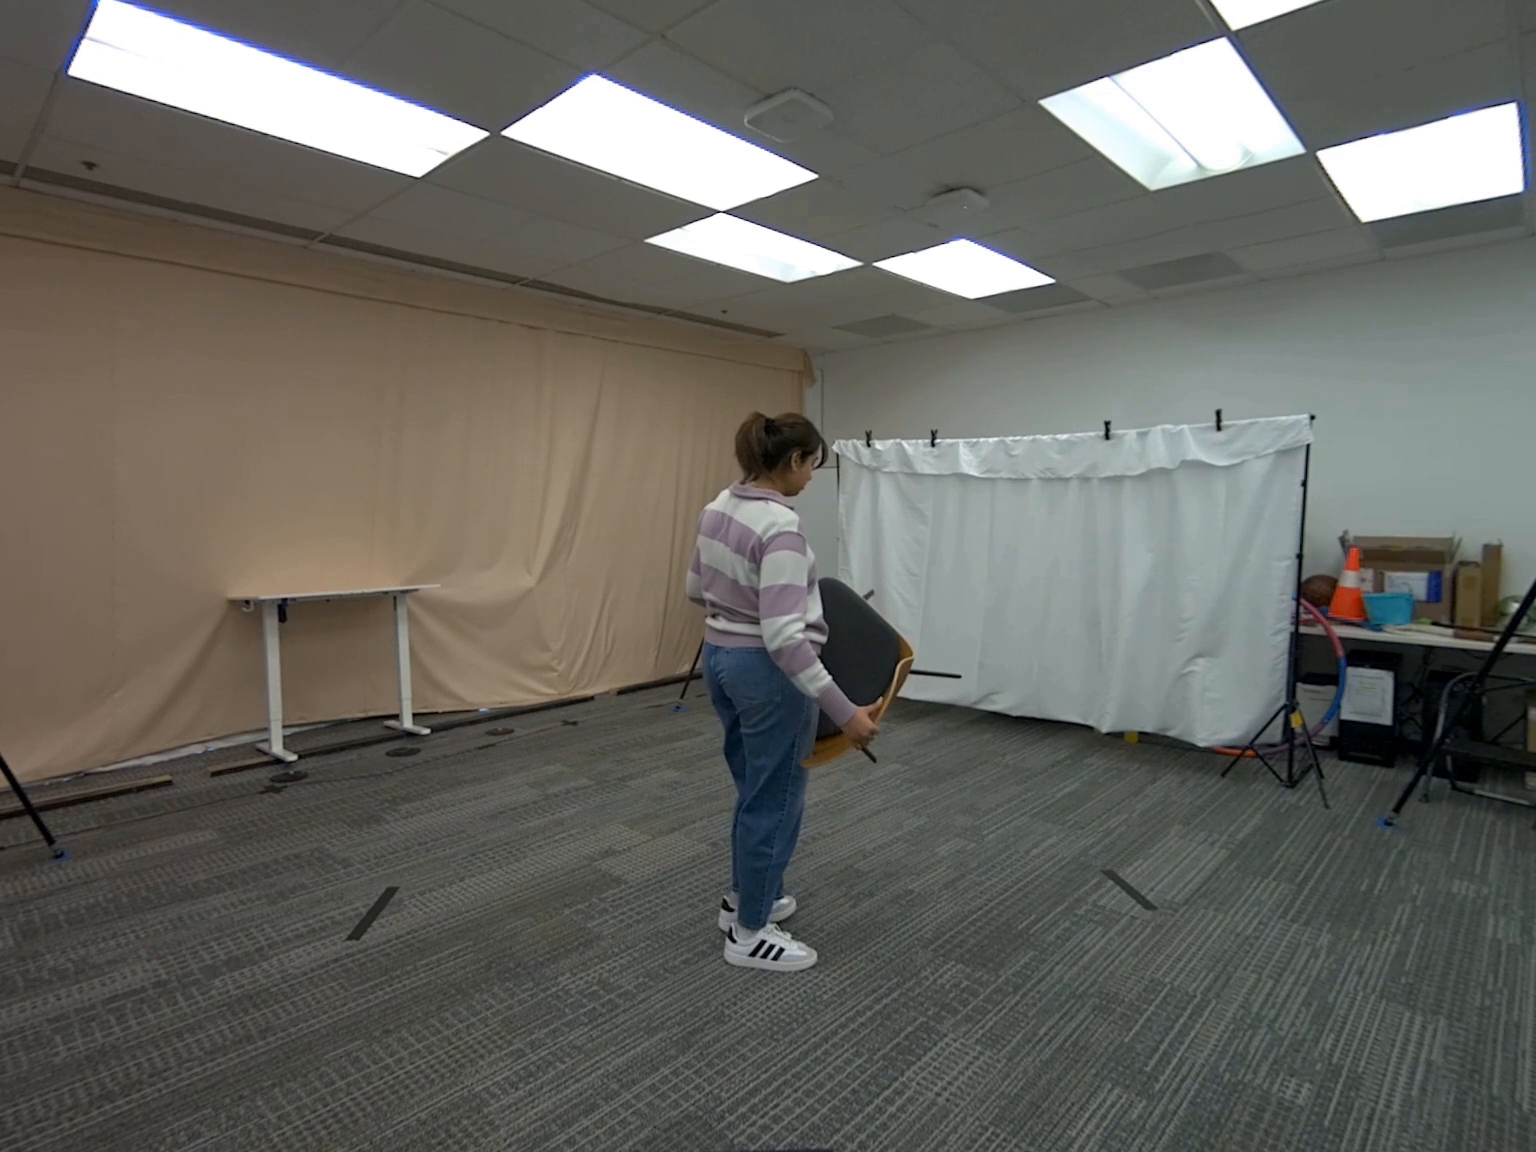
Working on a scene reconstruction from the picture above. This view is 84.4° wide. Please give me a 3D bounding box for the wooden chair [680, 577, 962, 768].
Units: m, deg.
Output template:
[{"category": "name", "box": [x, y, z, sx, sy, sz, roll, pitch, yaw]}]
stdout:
[{"category": "wooden chair", "box": [0.230, 0.309, 2.751, 0.536, 0.479, 0.854, 45, 10, 20]}]
